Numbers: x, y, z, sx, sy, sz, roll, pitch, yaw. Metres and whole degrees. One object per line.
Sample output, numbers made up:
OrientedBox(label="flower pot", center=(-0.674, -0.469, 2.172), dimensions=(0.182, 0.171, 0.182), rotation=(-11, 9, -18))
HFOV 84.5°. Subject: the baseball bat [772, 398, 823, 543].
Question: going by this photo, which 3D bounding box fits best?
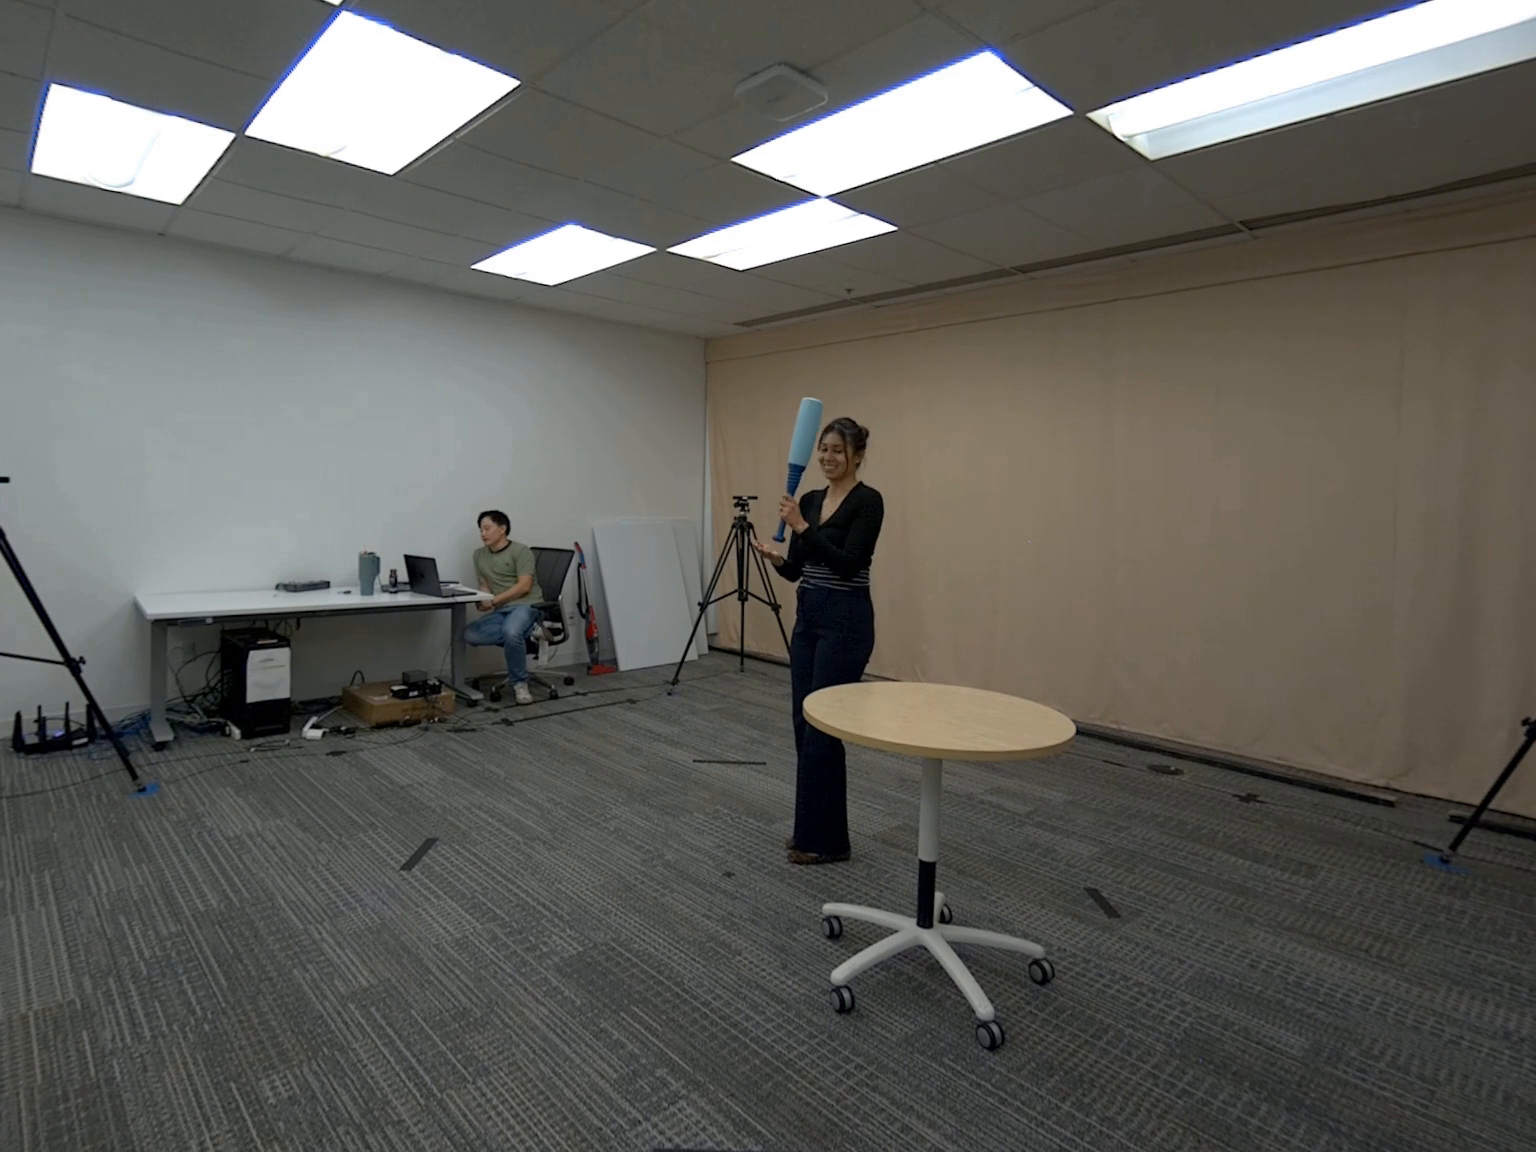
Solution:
OrientedBox(label="baseball bat", center=(0.109, -0.387, 3.106), dimensions=(0.089, 0.542, 0.089), rotation=(13, 3, -2))
